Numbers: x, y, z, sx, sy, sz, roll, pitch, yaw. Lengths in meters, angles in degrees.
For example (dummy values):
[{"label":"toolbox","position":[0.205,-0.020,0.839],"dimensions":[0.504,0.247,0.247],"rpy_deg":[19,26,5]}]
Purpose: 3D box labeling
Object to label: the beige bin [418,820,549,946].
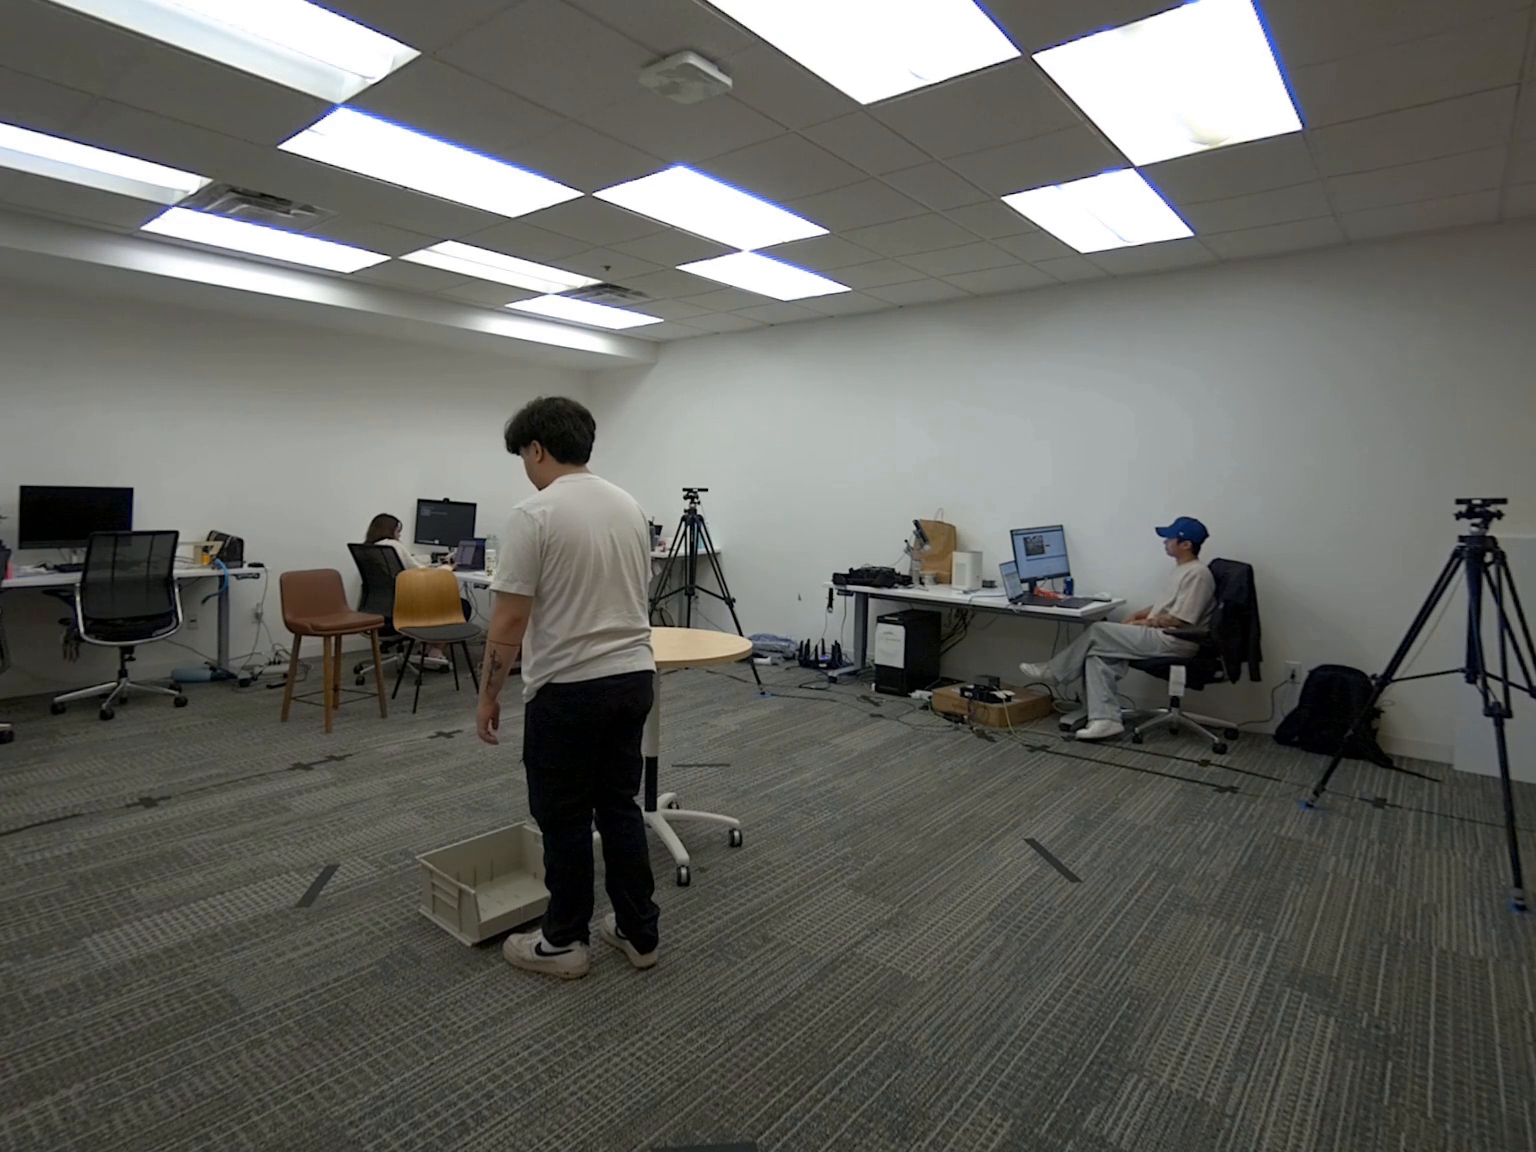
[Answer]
[{"label":"beige bin","position":[-0.880,1.001,2.791],"dimensions":[0.390,0.188,0.410],"rpy_deg":[4,7,41]}]
